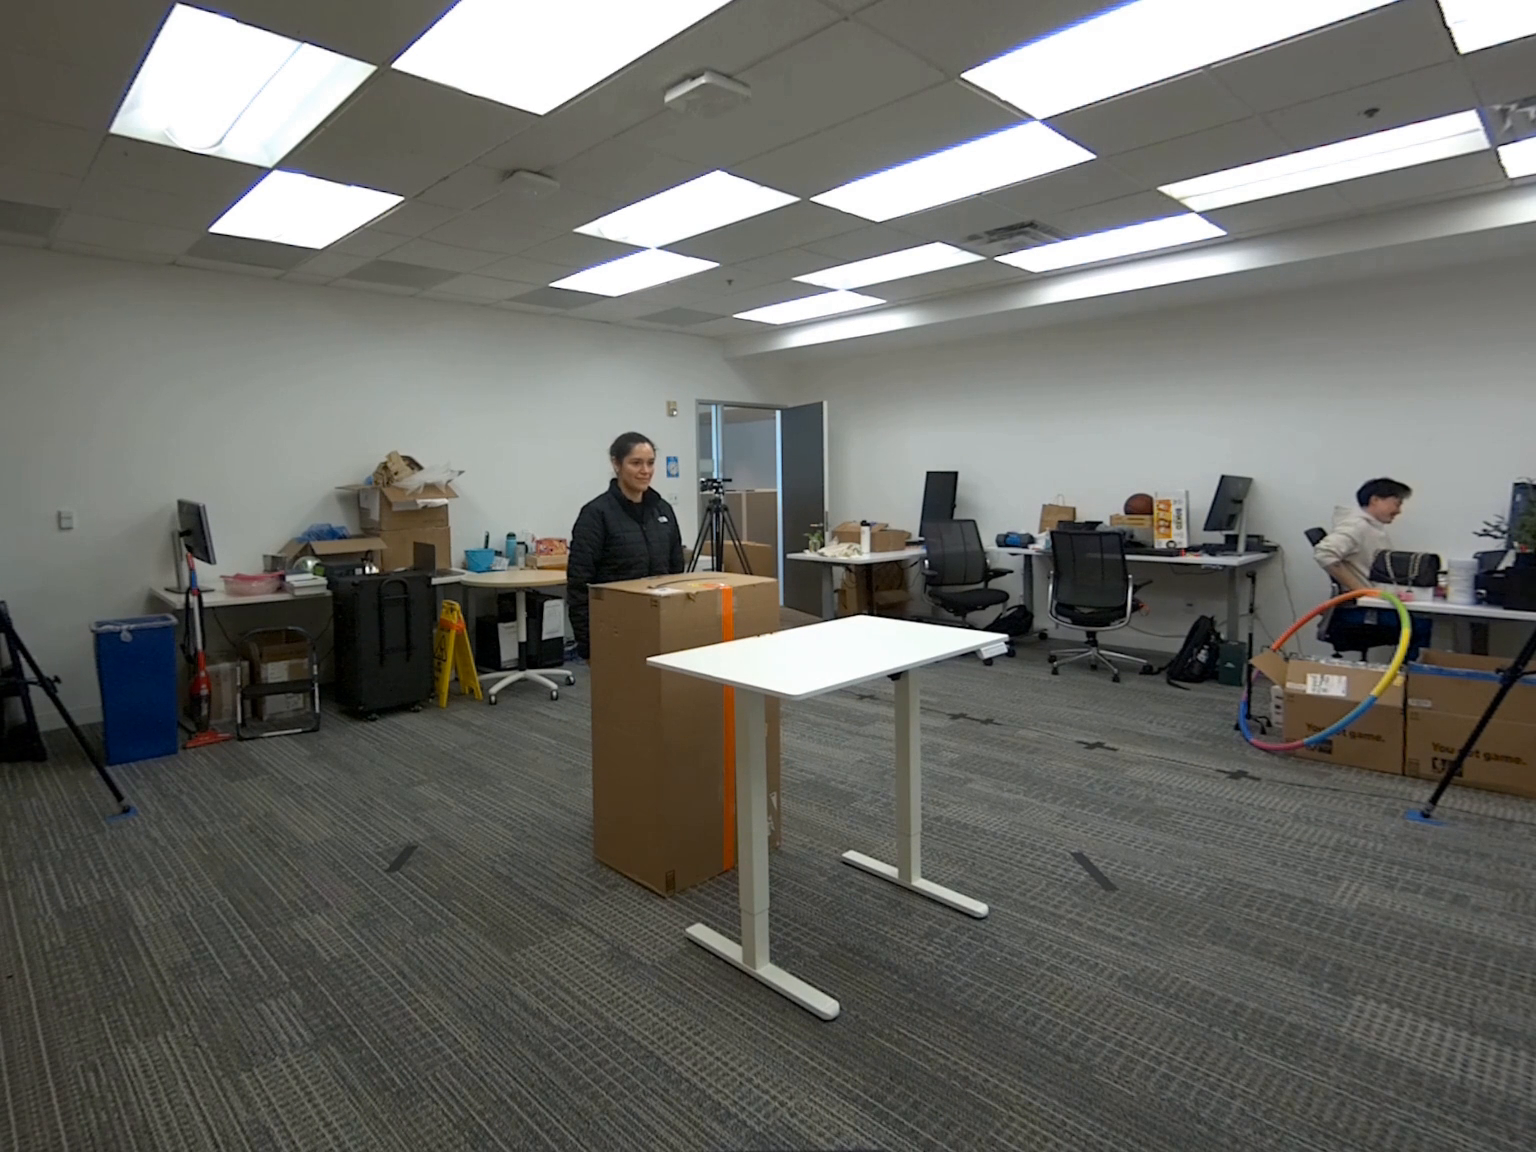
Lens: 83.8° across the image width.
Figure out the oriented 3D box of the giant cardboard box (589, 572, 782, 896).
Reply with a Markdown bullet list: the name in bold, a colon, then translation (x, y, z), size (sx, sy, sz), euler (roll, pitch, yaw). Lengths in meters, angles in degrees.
- **giant cardboard box**: translation (-0.299, 0.532, 3.176), size (0.562, 1.022, 0.439), euler (-4, 5, -44)
